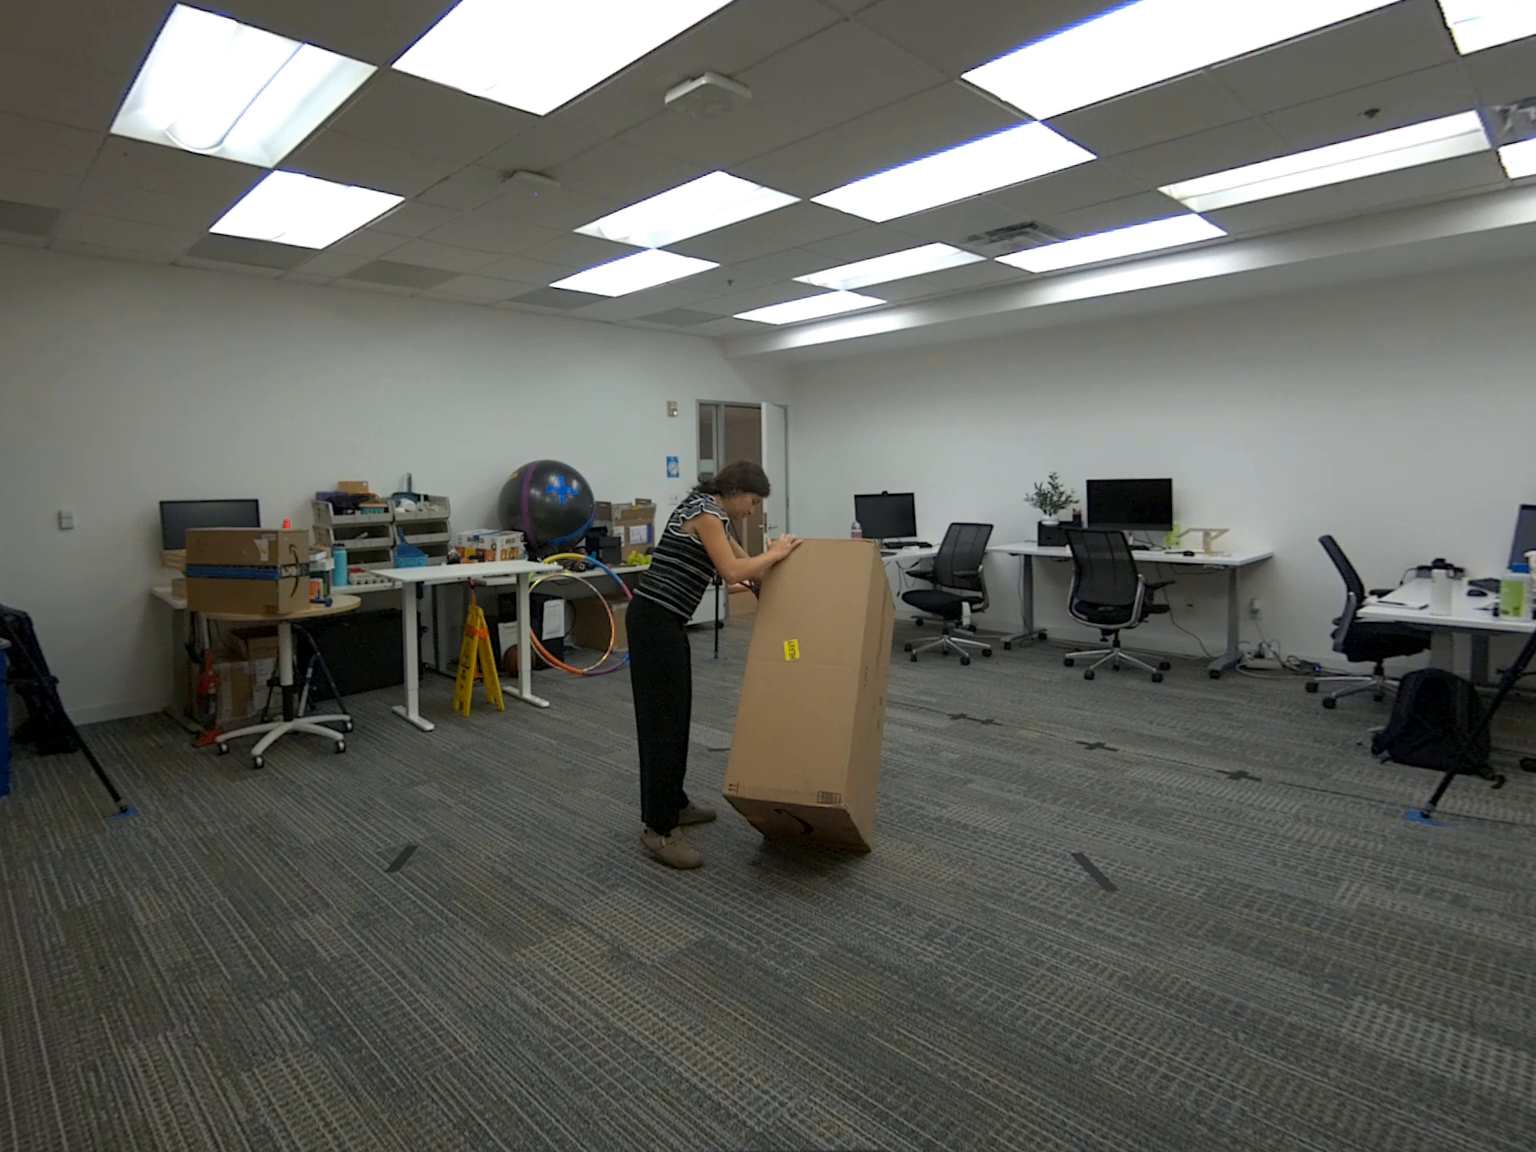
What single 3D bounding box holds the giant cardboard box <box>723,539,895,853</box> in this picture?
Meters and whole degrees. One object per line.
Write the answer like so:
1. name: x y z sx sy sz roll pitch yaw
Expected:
1. giant cardboard box: 0.193 0.443 3.292 0.434 1.044 0.557 0 -31 18
